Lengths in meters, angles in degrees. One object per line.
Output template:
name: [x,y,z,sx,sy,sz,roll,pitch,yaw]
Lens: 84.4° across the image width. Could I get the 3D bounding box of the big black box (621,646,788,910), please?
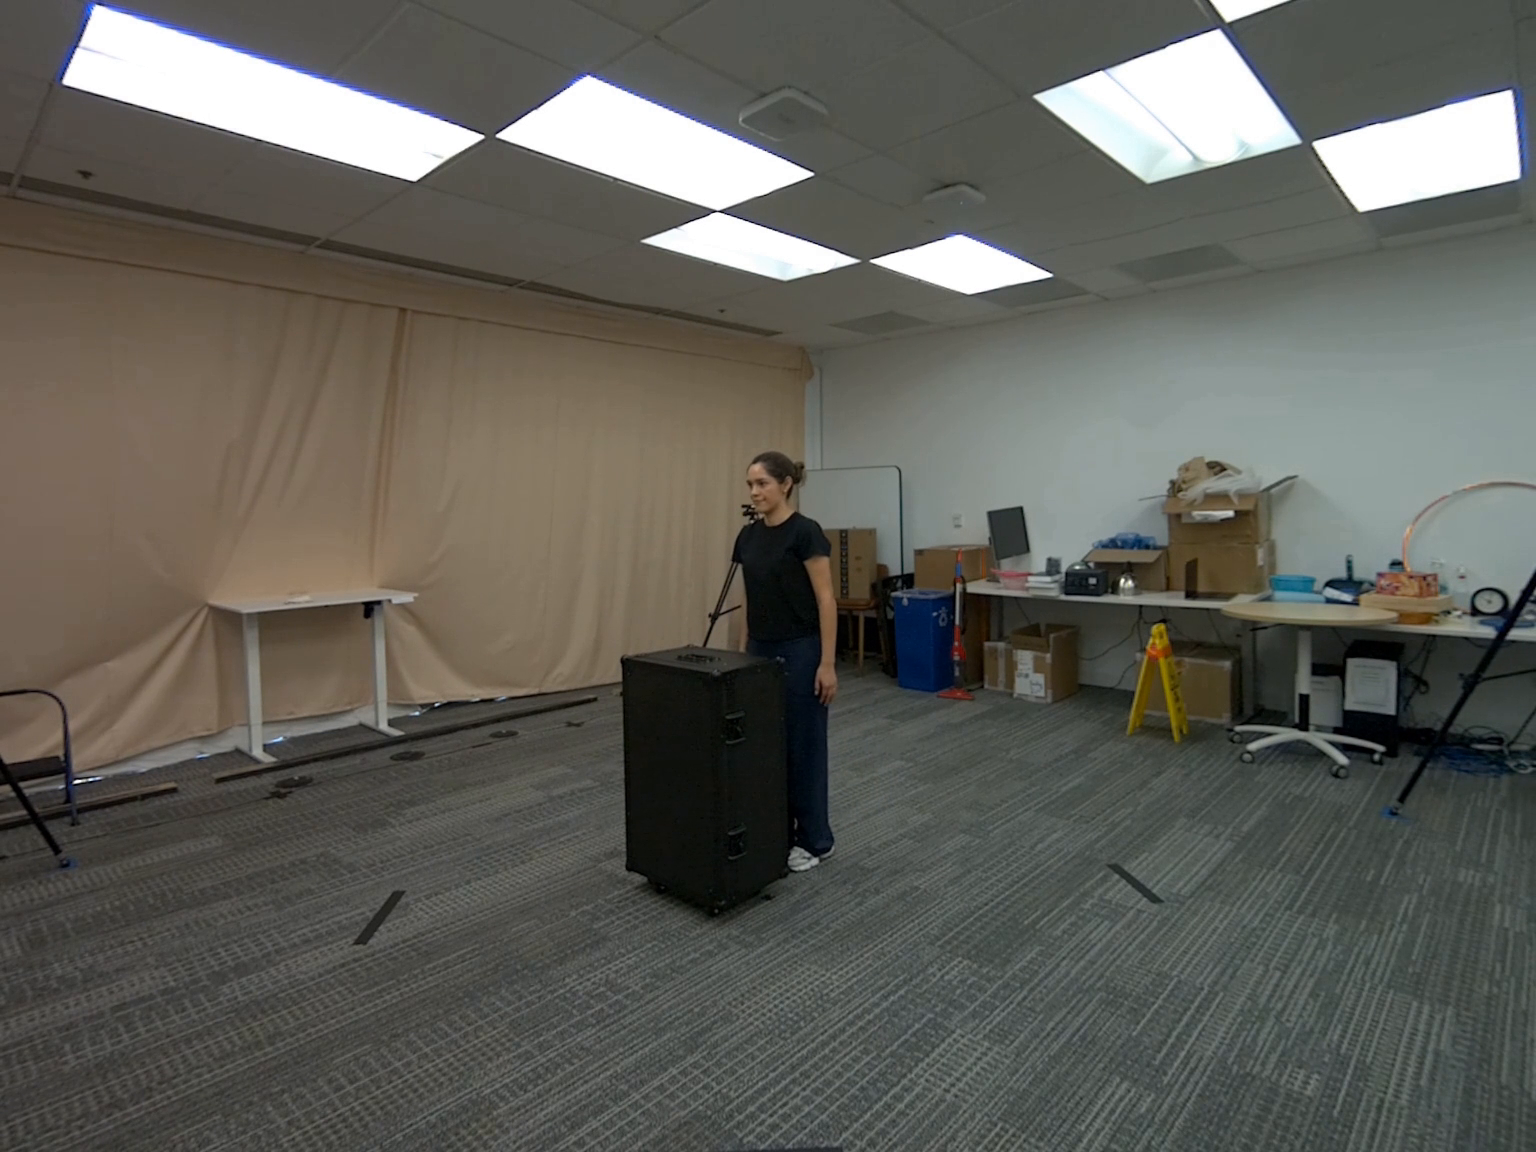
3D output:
big black box: [-0.214,0.714,3.030,0.538,0.860,0.384,2,3,41]
